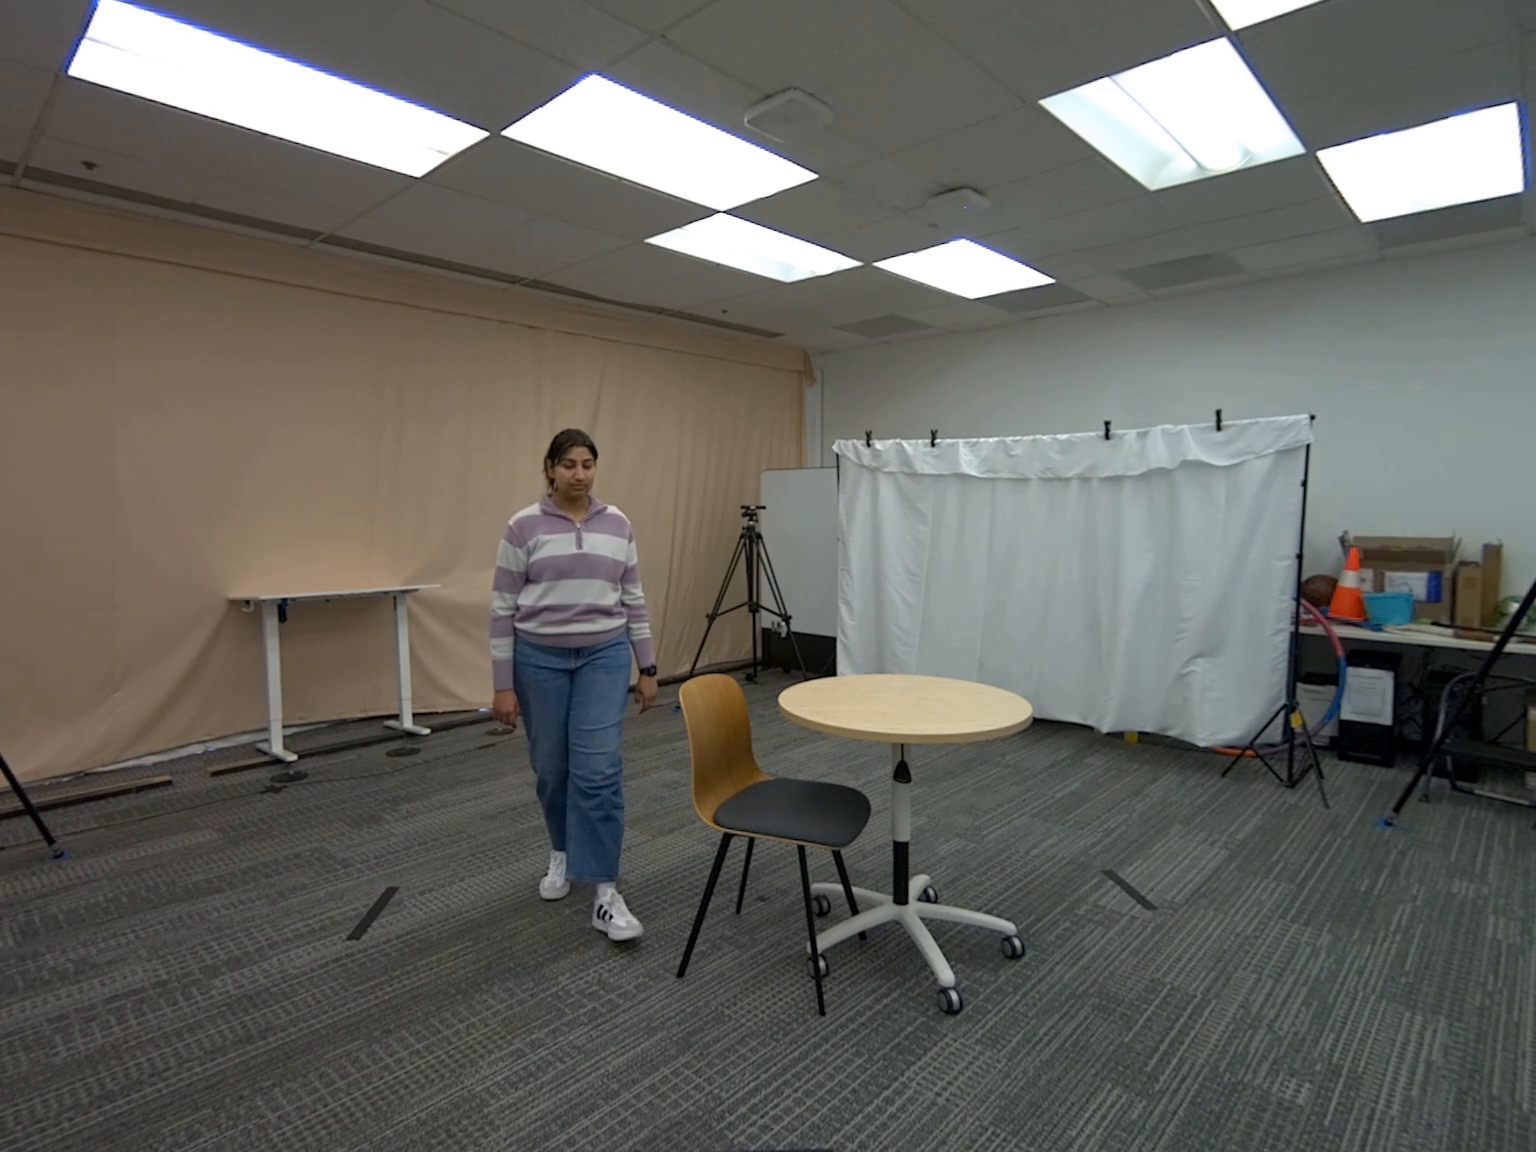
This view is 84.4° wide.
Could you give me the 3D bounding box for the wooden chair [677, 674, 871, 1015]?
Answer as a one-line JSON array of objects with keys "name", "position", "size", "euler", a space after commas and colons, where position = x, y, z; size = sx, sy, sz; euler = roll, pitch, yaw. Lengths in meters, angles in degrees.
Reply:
[{"name": "wooden chair", "position": [0.034, 0.755, 2.560], "size": [0.535, 0.877, 0.467], "euler": [-3, 1, 24]}]
